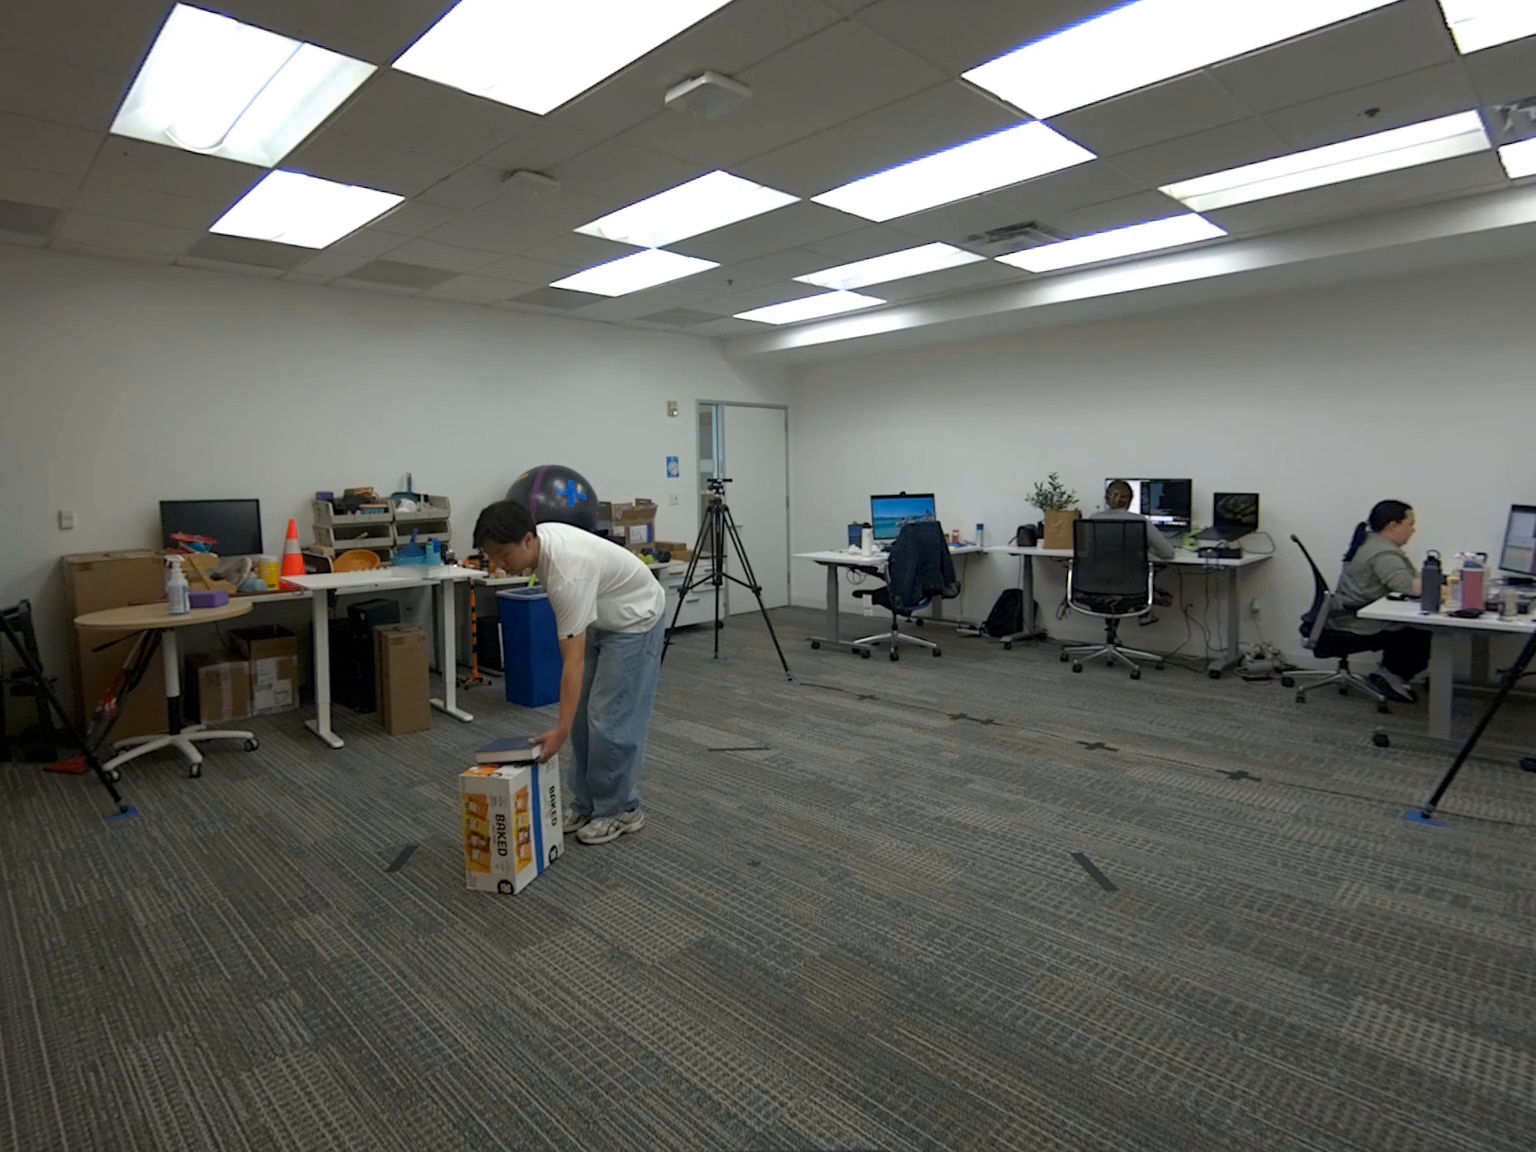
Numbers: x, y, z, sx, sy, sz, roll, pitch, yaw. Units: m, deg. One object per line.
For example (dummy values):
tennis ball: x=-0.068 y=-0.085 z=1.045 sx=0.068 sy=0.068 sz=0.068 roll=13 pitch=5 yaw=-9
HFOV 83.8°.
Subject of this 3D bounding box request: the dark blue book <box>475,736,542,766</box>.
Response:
dark blue book: x=-0.913 y=0.621 z=3.080 sx=0.248 sy=0.045 sz=0.162 roll=-7 pitch=6 yaw=16
